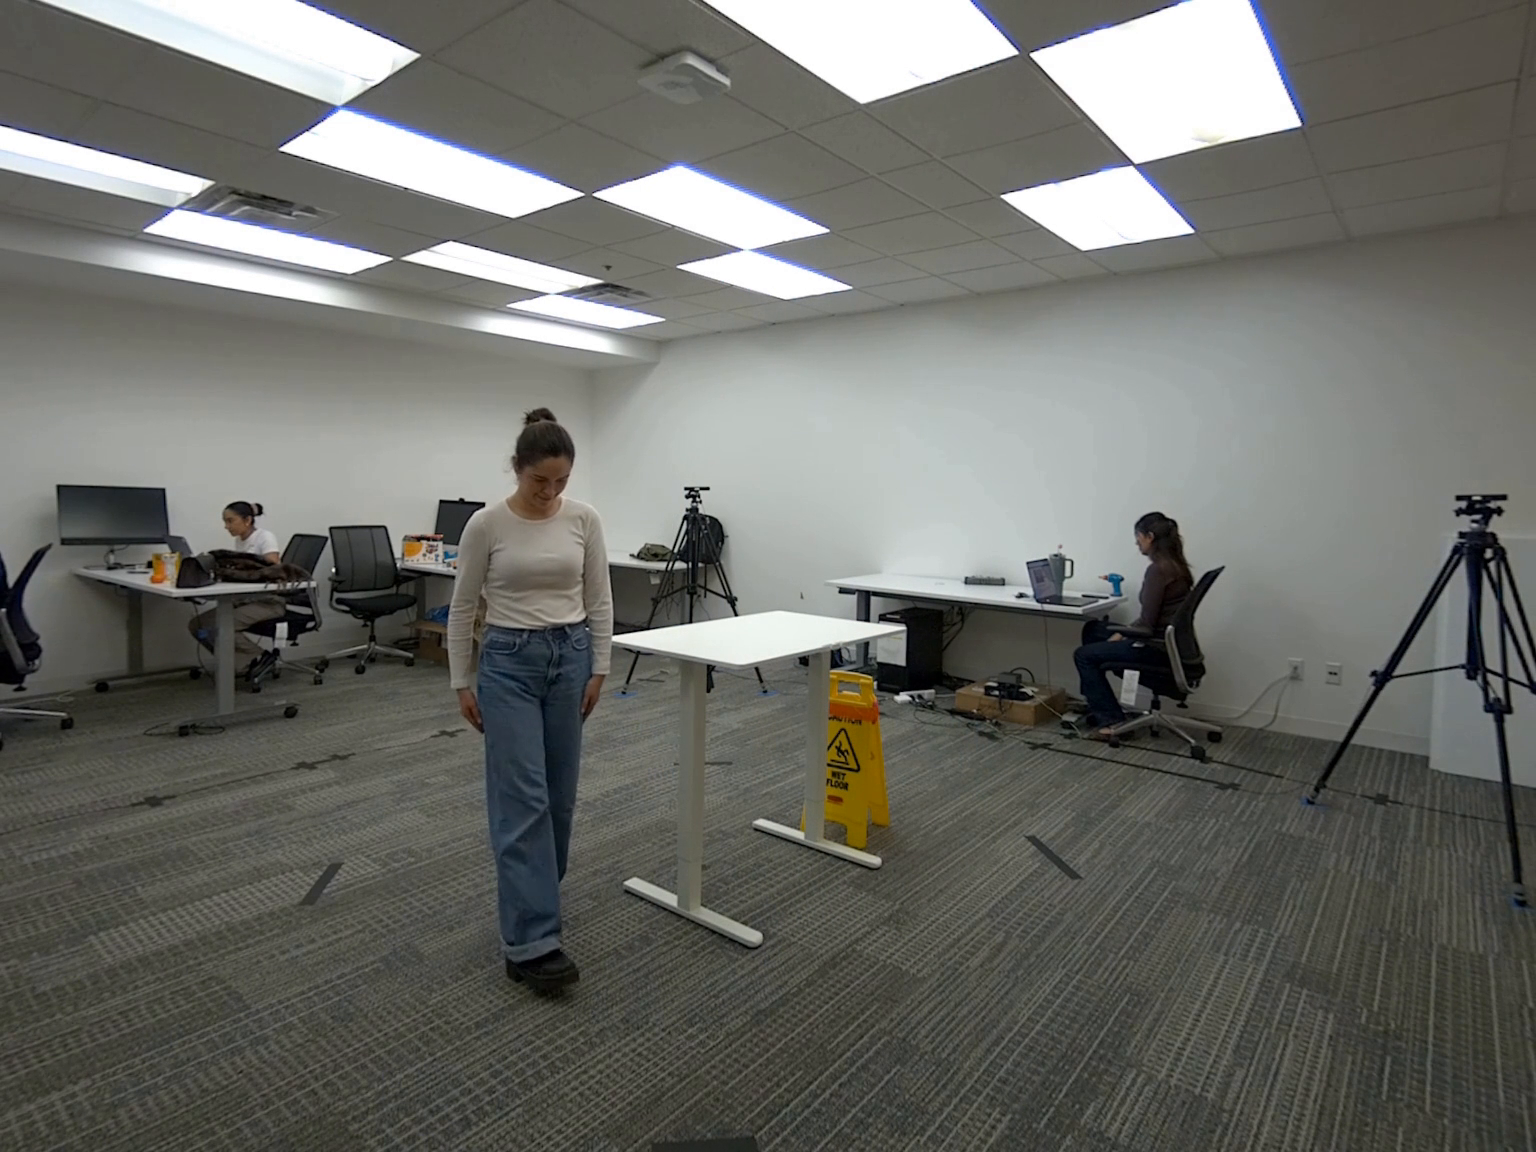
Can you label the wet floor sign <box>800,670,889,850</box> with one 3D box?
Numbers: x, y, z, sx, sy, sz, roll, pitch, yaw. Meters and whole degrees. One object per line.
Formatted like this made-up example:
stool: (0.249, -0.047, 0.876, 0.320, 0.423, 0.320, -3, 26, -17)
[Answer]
wet floor sign: (0.323, 0.716, 3.478, 0.291, 0.644, 0.282, 4, 3, 30)
